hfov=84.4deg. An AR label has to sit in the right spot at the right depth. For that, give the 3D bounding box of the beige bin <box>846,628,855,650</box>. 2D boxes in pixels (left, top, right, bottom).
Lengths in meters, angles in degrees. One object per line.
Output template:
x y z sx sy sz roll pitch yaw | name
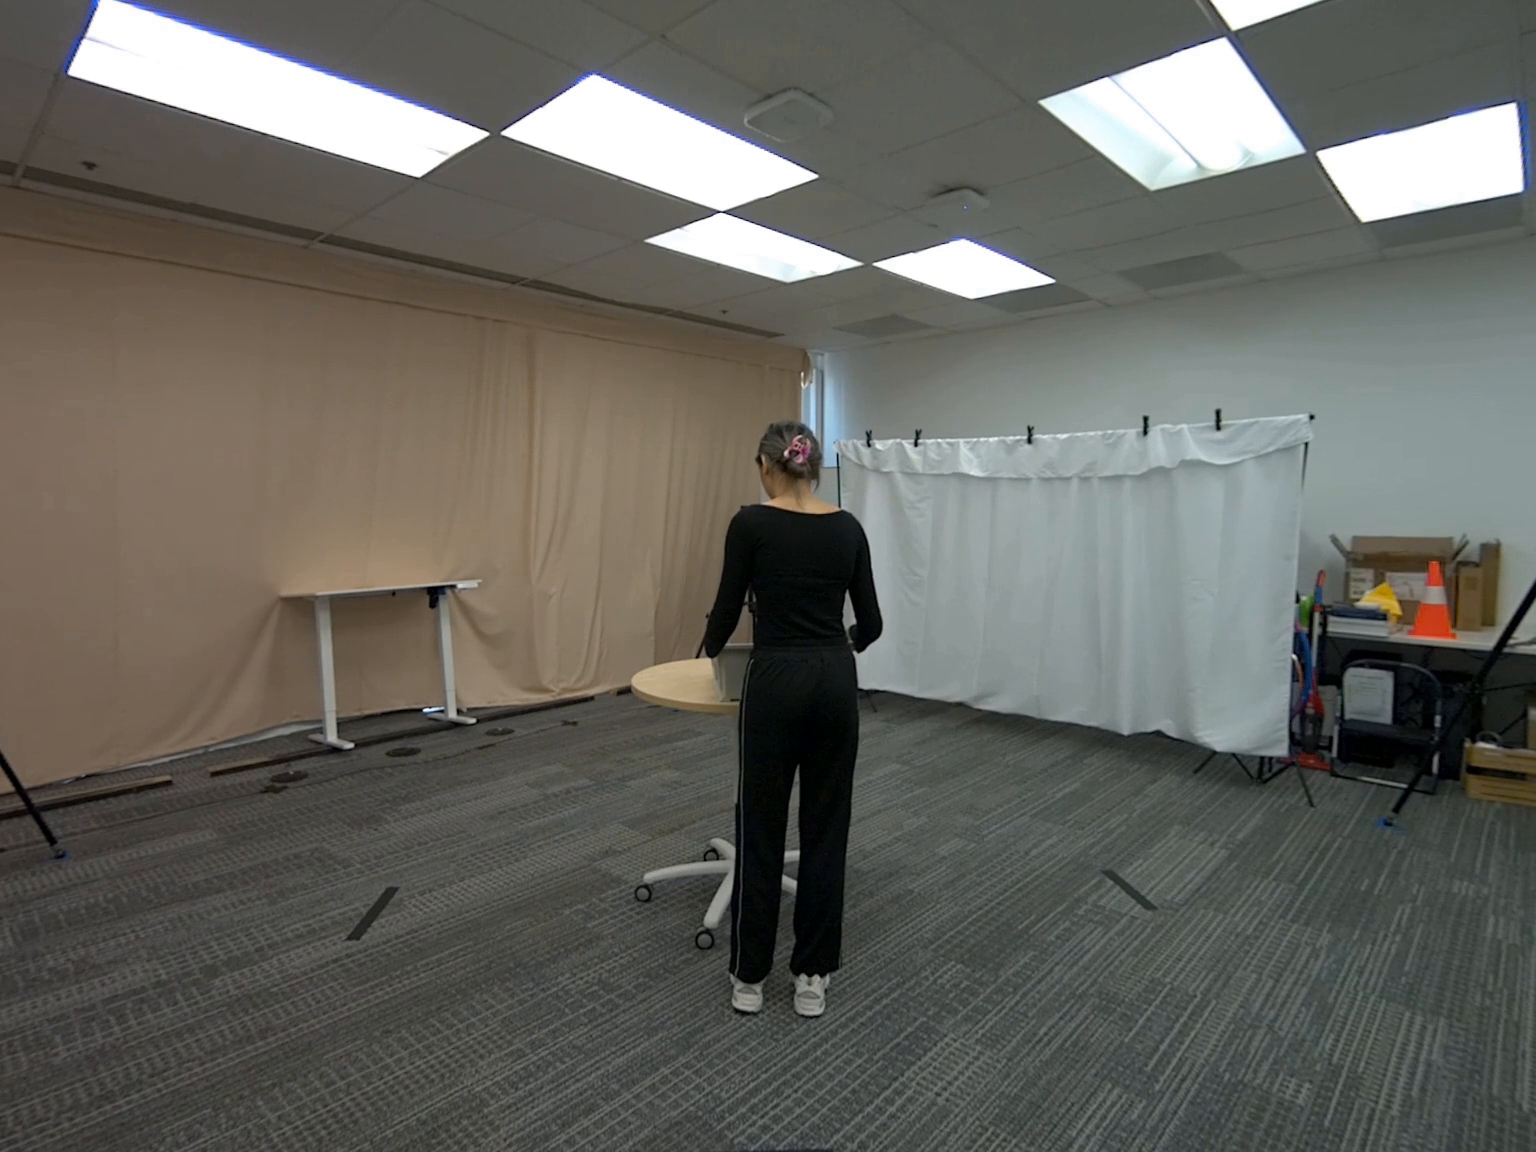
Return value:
0.027 0.280 2.777 0.420 0.188 0.380 0 4 -5 | beige bin
